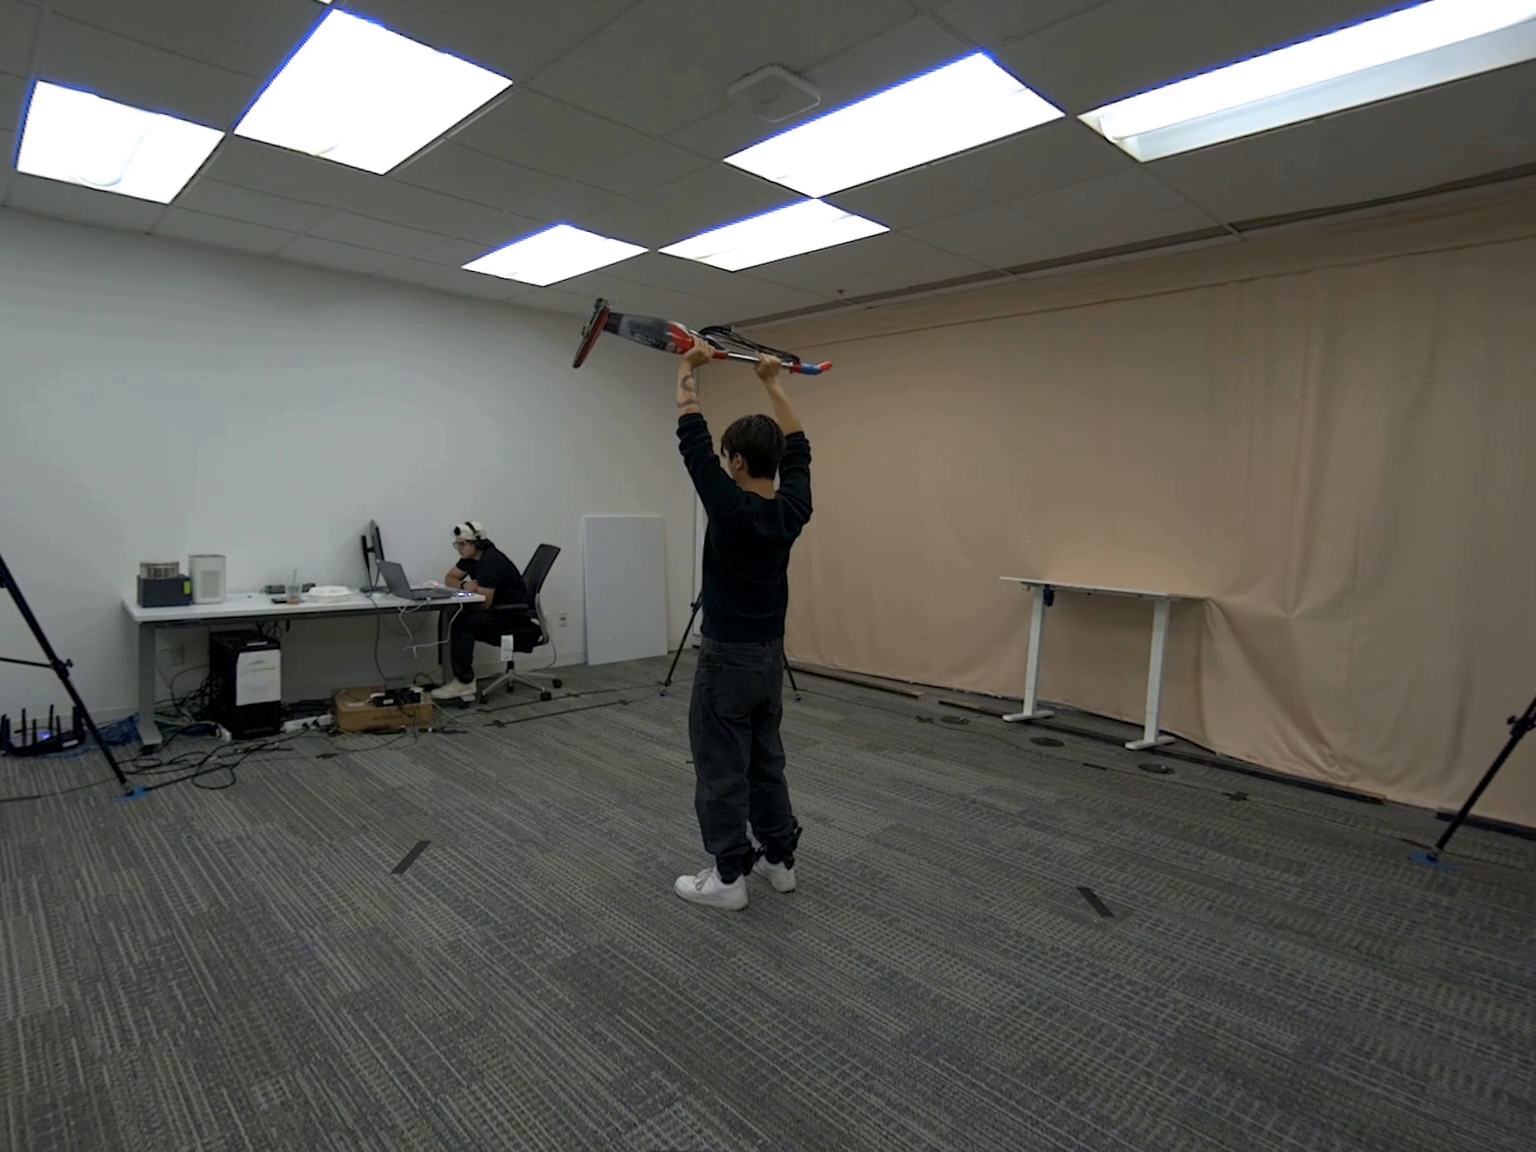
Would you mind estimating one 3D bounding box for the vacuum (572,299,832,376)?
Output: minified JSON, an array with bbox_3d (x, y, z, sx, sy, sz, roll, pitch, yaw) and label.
[{"bbox_3d":[-0.172,-0.807,2.959,1.026,0.147,0.252,-3,-31,-39],"label":"vacuum"}]
